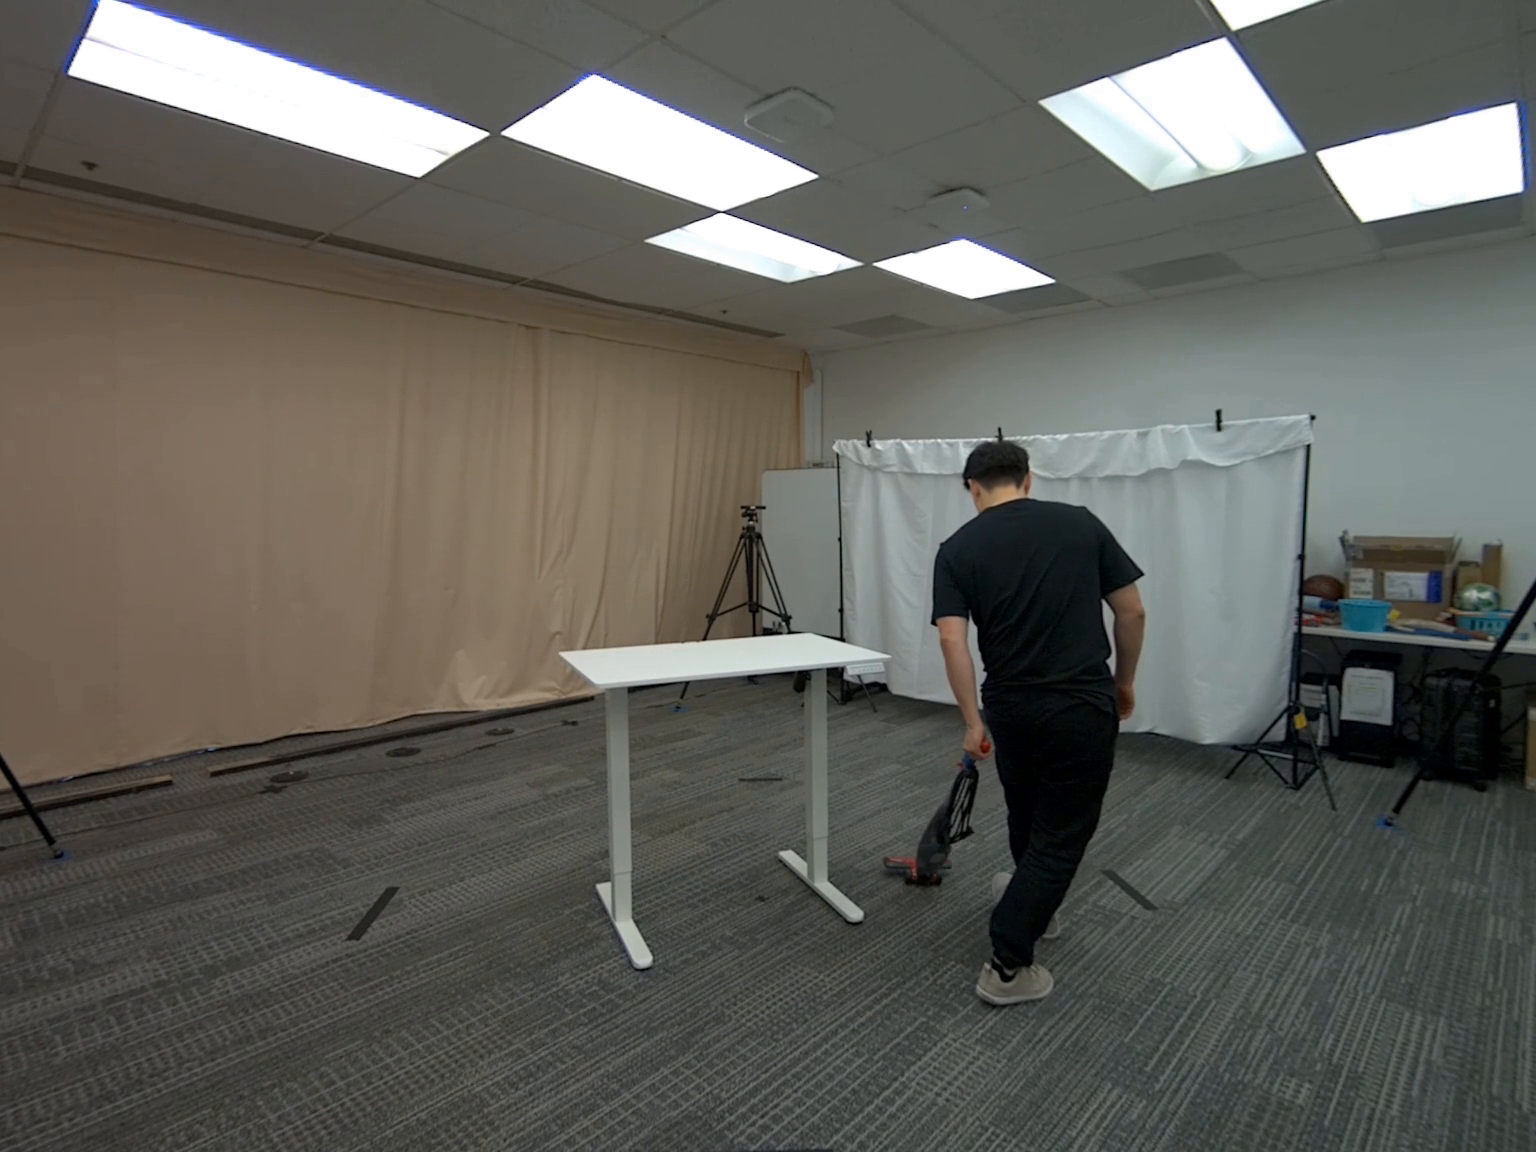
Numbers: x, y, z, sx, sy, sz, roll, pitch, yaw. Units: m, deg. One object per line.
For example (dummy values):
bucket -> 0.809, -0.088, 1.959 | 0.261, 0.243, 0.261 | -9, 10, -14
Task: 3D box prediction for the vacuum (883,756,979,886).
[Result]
vacuum -> 0.578, 0.803, 2.750 | 0.252, 0.147, 1.029 | -1, -36, -1
